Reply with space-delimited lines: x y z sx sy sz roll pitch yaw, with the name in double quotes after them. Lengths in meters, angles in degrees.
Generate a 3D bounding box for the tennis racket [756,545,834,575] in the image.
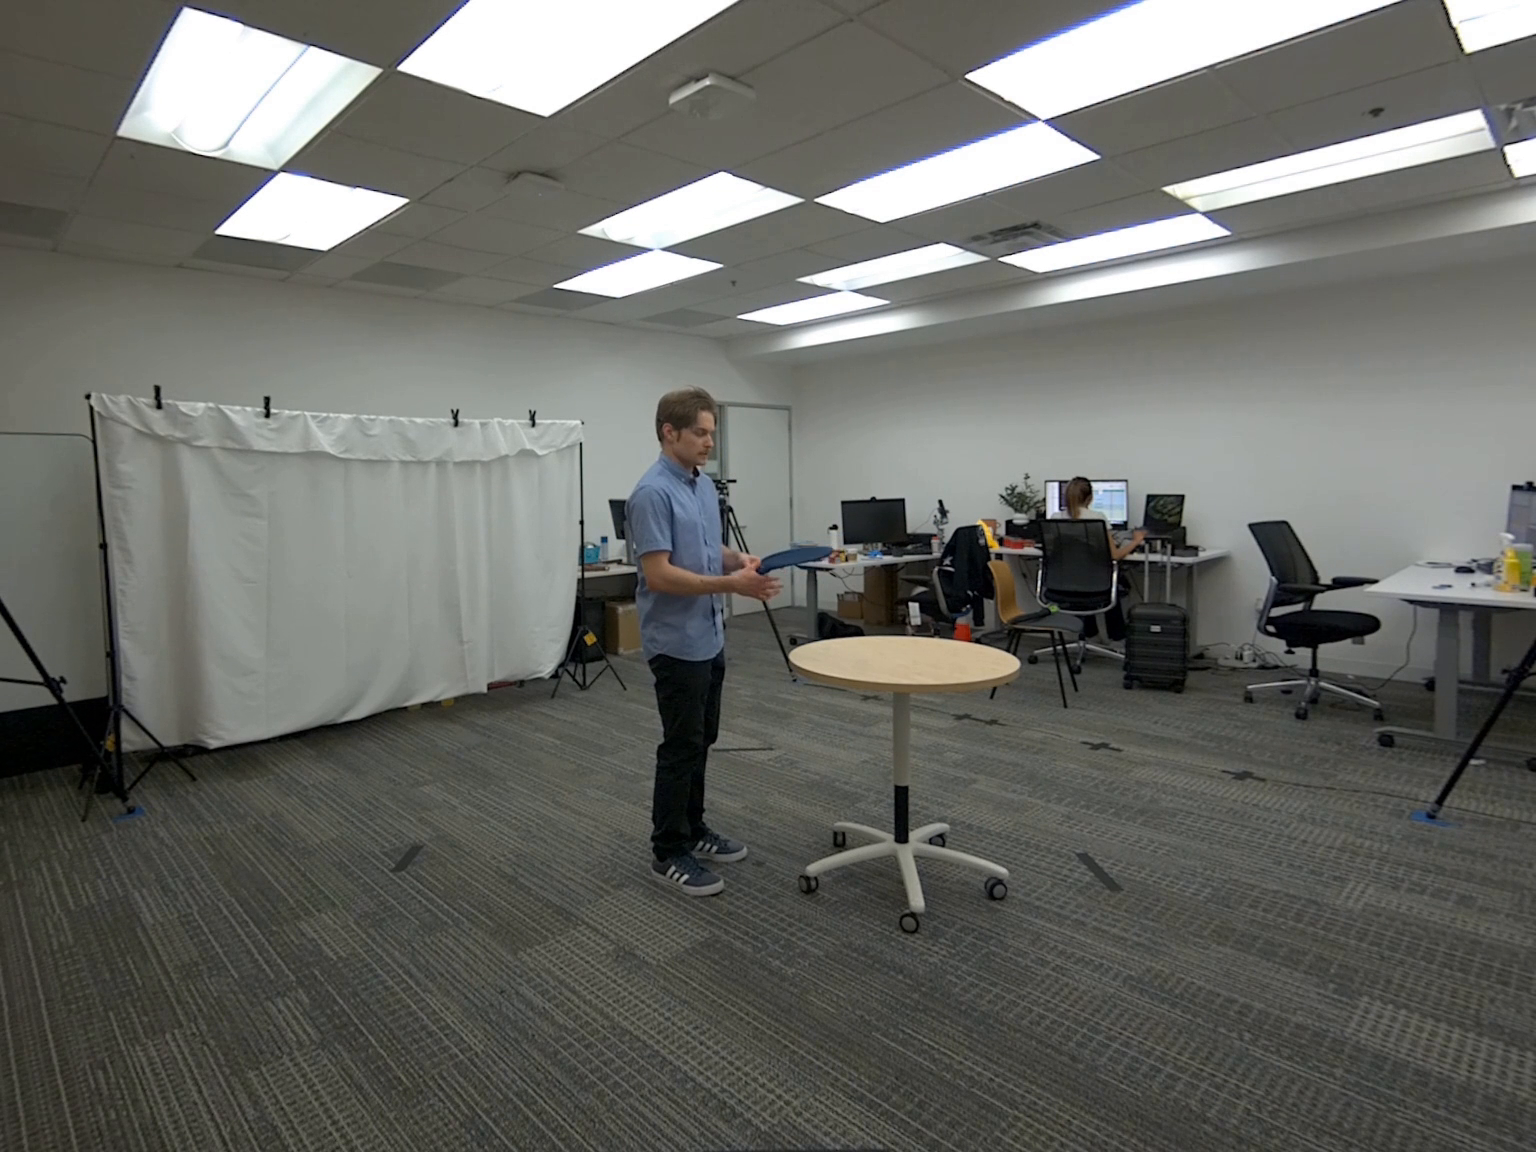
0.012 -0.037 2.748 0.441 0.032 0.206 -14 -16 29 "tennis racket"
